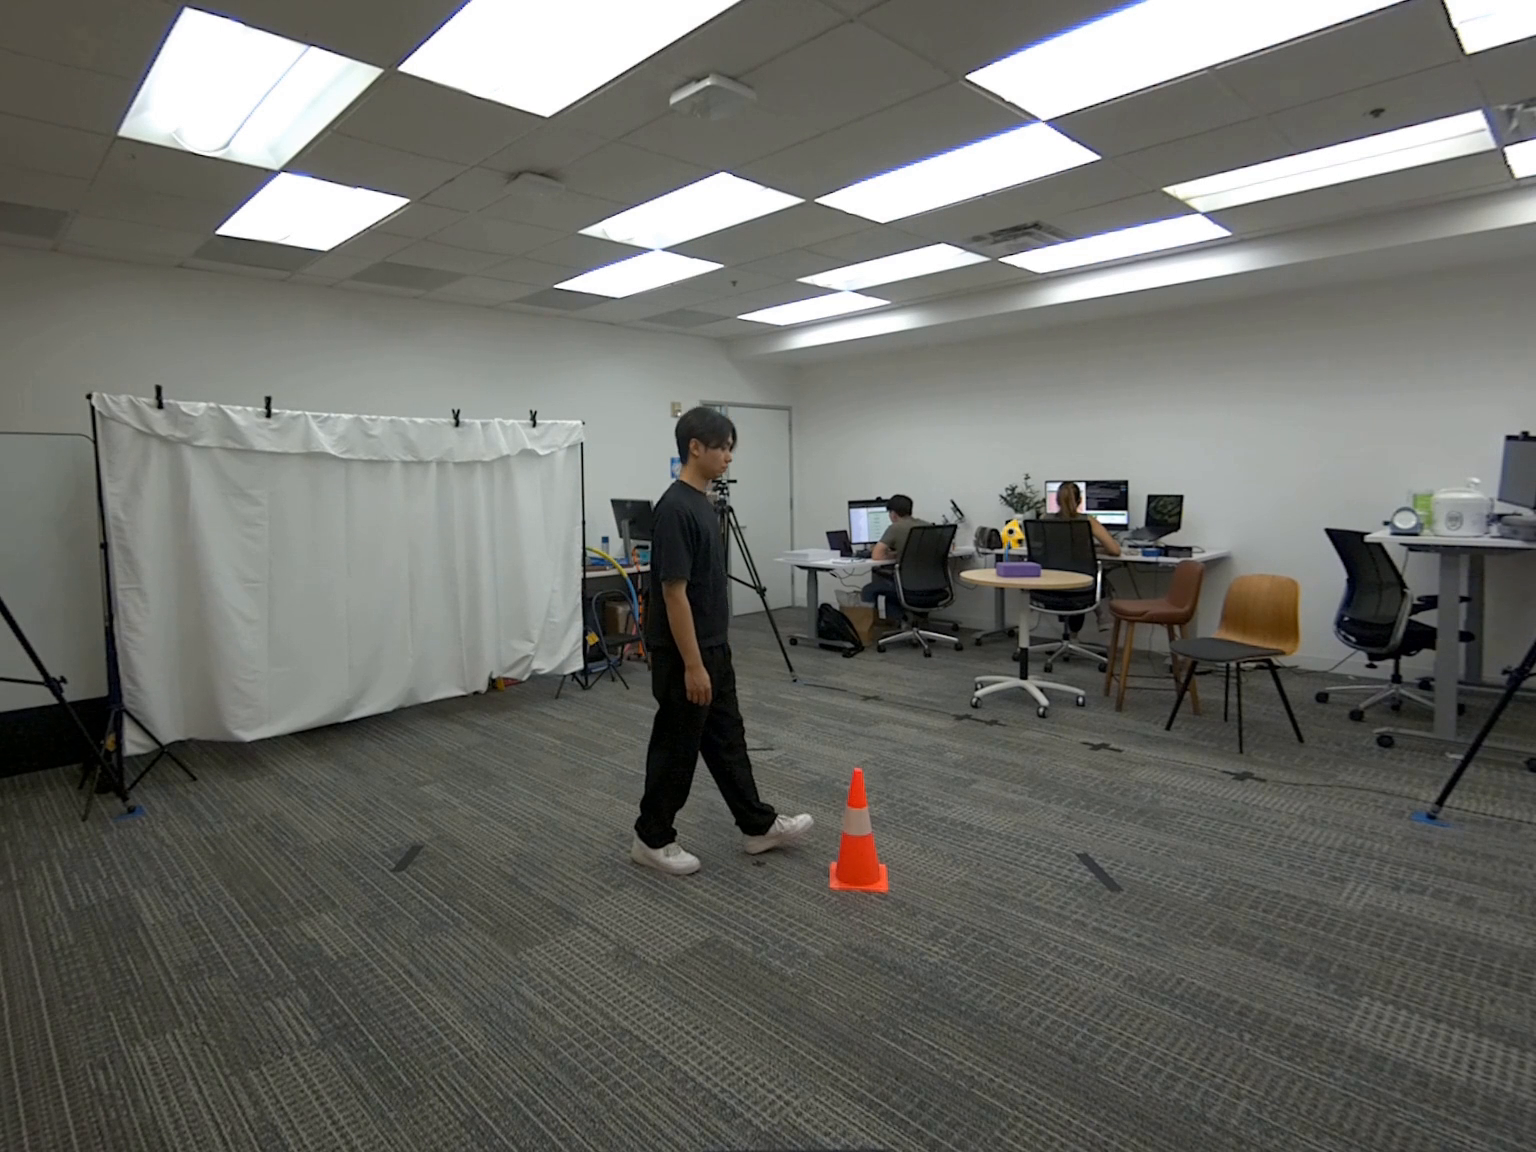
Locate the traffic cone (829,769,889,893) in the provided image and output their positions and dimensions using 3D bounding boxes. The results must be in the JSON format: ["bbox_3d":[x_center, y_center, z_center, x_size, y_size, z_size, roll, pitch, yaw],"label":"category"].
[{"bbox_3d":[0.306,0.864,2.968,0.205,0.382,0.204,-1,6,11],"label":"traffic cone"}]
